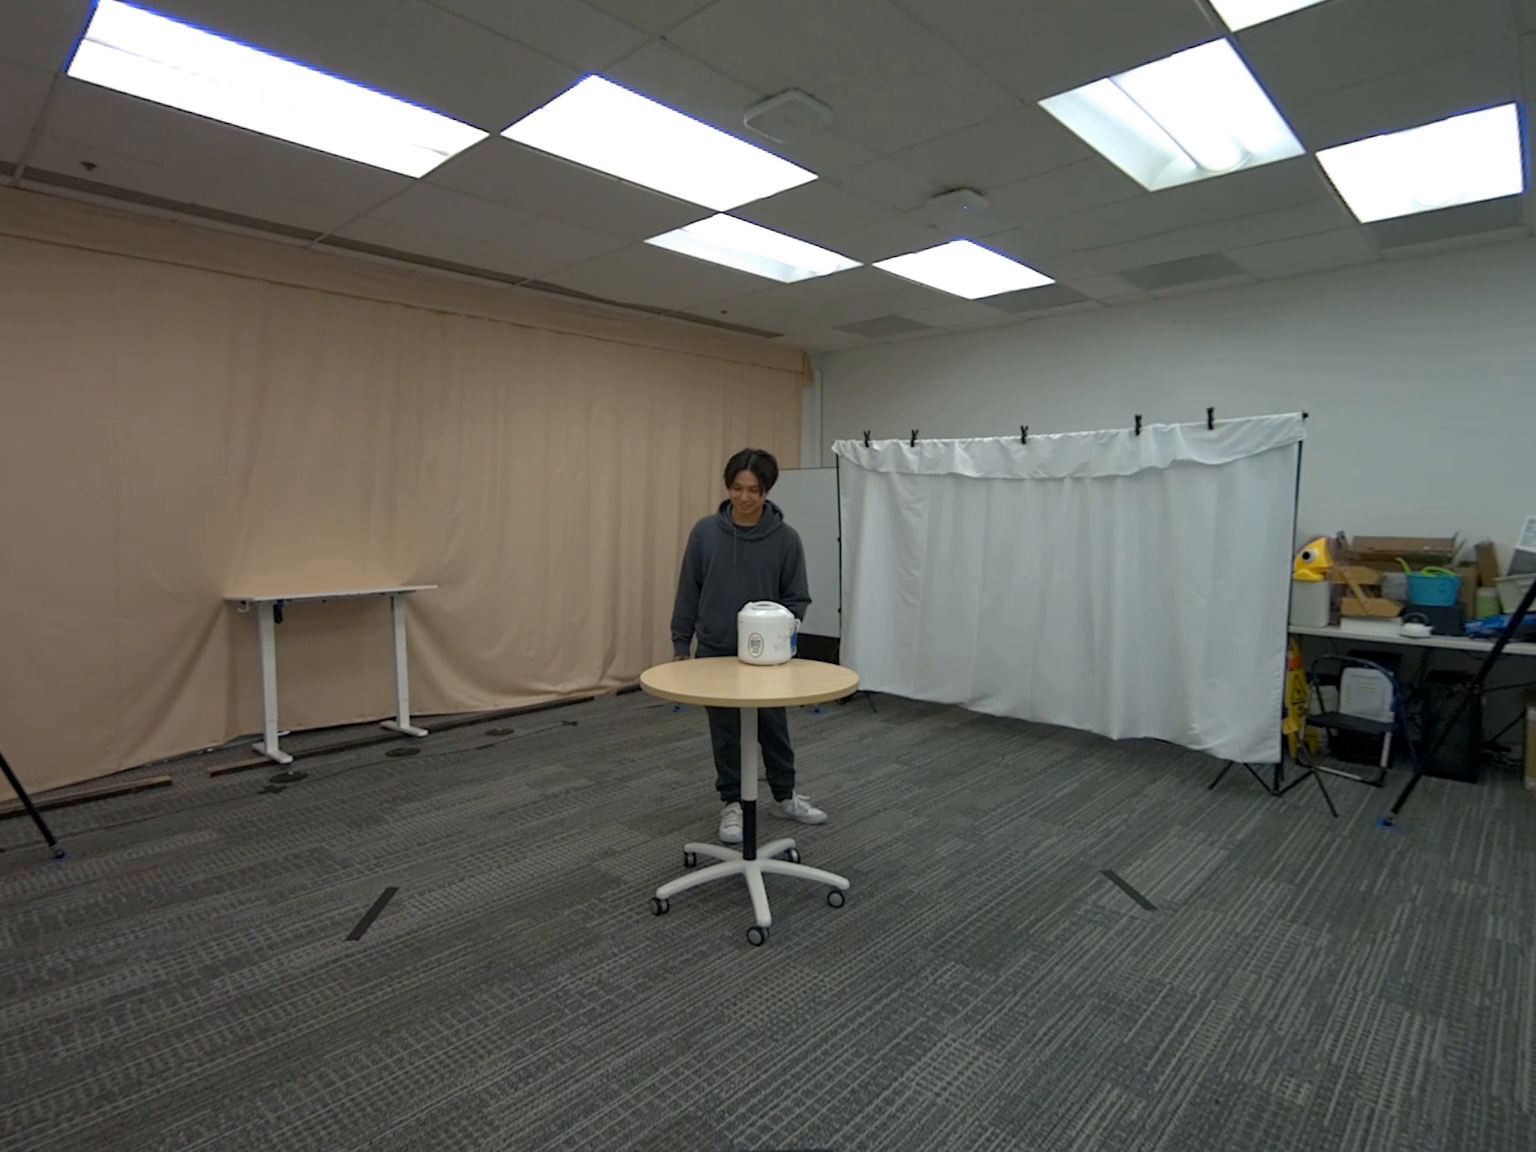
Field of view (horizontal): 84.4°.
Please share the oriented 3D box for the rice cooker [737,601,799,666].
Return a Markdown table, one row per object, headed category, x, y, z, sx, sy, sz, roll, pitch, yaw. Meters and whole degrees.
| category | x | y | z | sx | sy | sz | roll | pitch | yaw |
| --- | --- | --- | --- | --- | --- | --- | --- | --- | --- |
| rice cooker | -0.010 | 0.212 | 3.221 | 0.225 | 0.232 | 0.213 | 1 | 3 | 21 |
